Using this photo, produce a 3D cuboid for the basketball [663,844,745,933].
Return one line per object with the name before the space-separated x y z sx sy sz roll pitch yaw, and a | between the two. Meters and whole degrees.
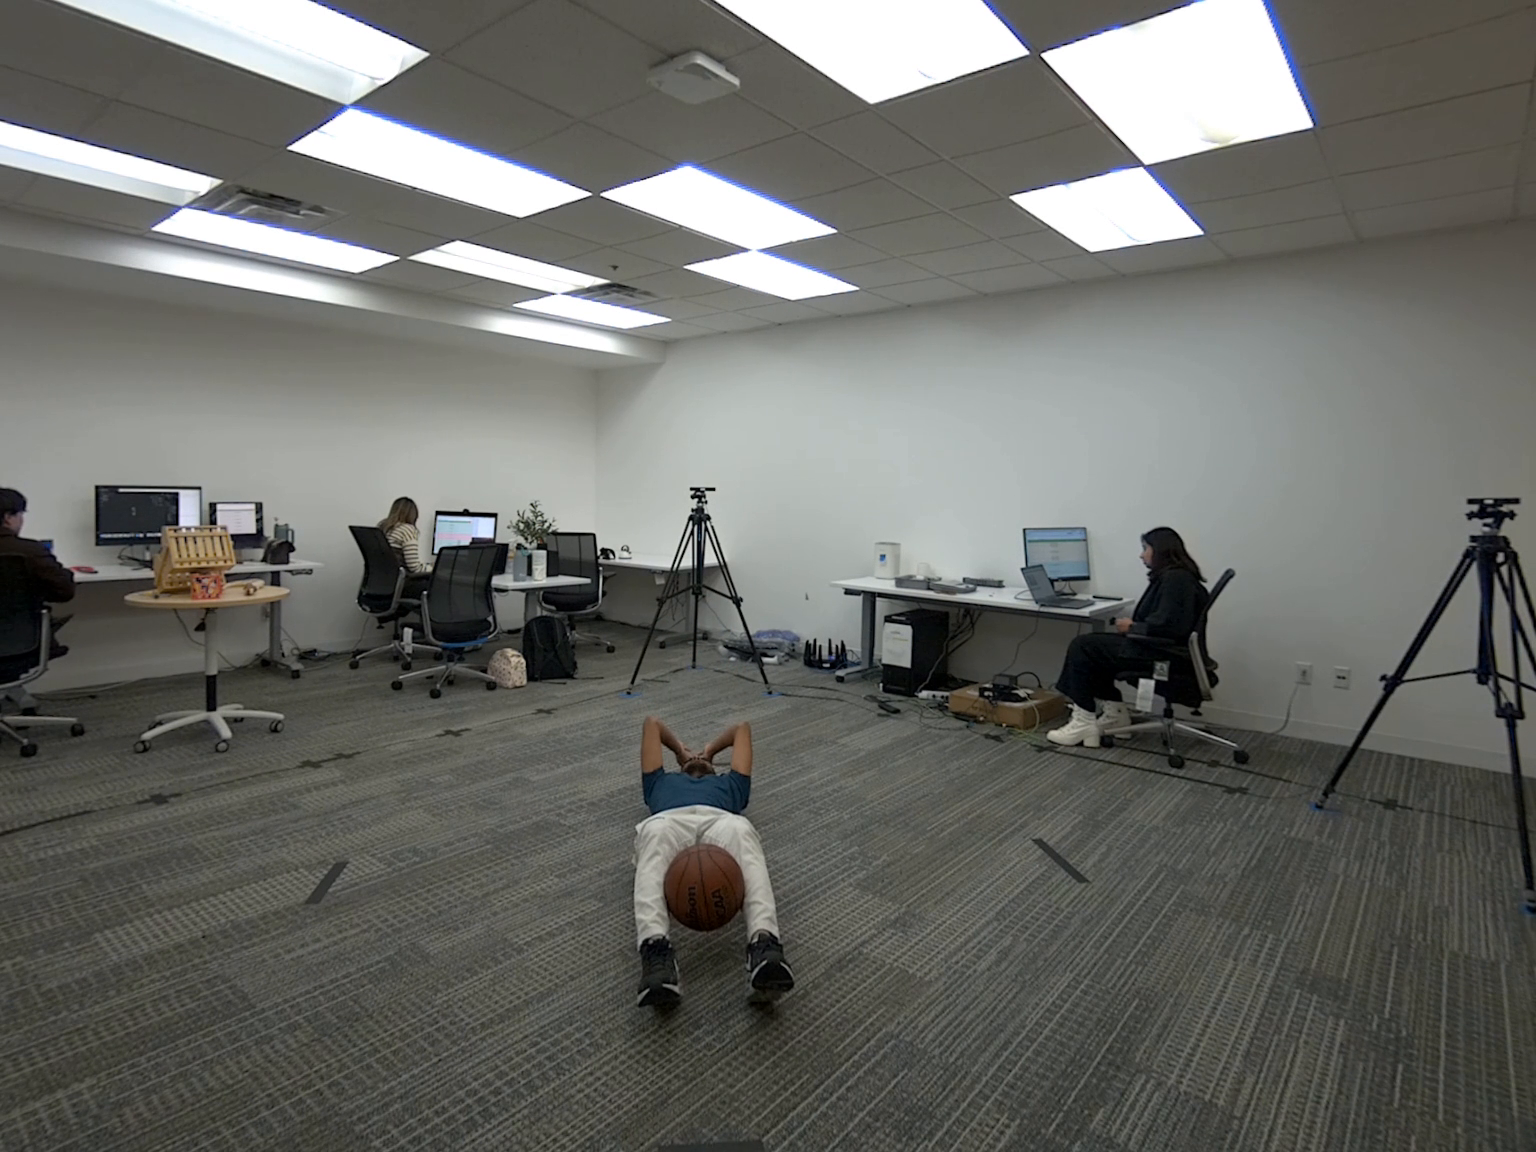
basketball | -0.194 0.911 2.497 0.235 0.235 0.237 1 4 -2
